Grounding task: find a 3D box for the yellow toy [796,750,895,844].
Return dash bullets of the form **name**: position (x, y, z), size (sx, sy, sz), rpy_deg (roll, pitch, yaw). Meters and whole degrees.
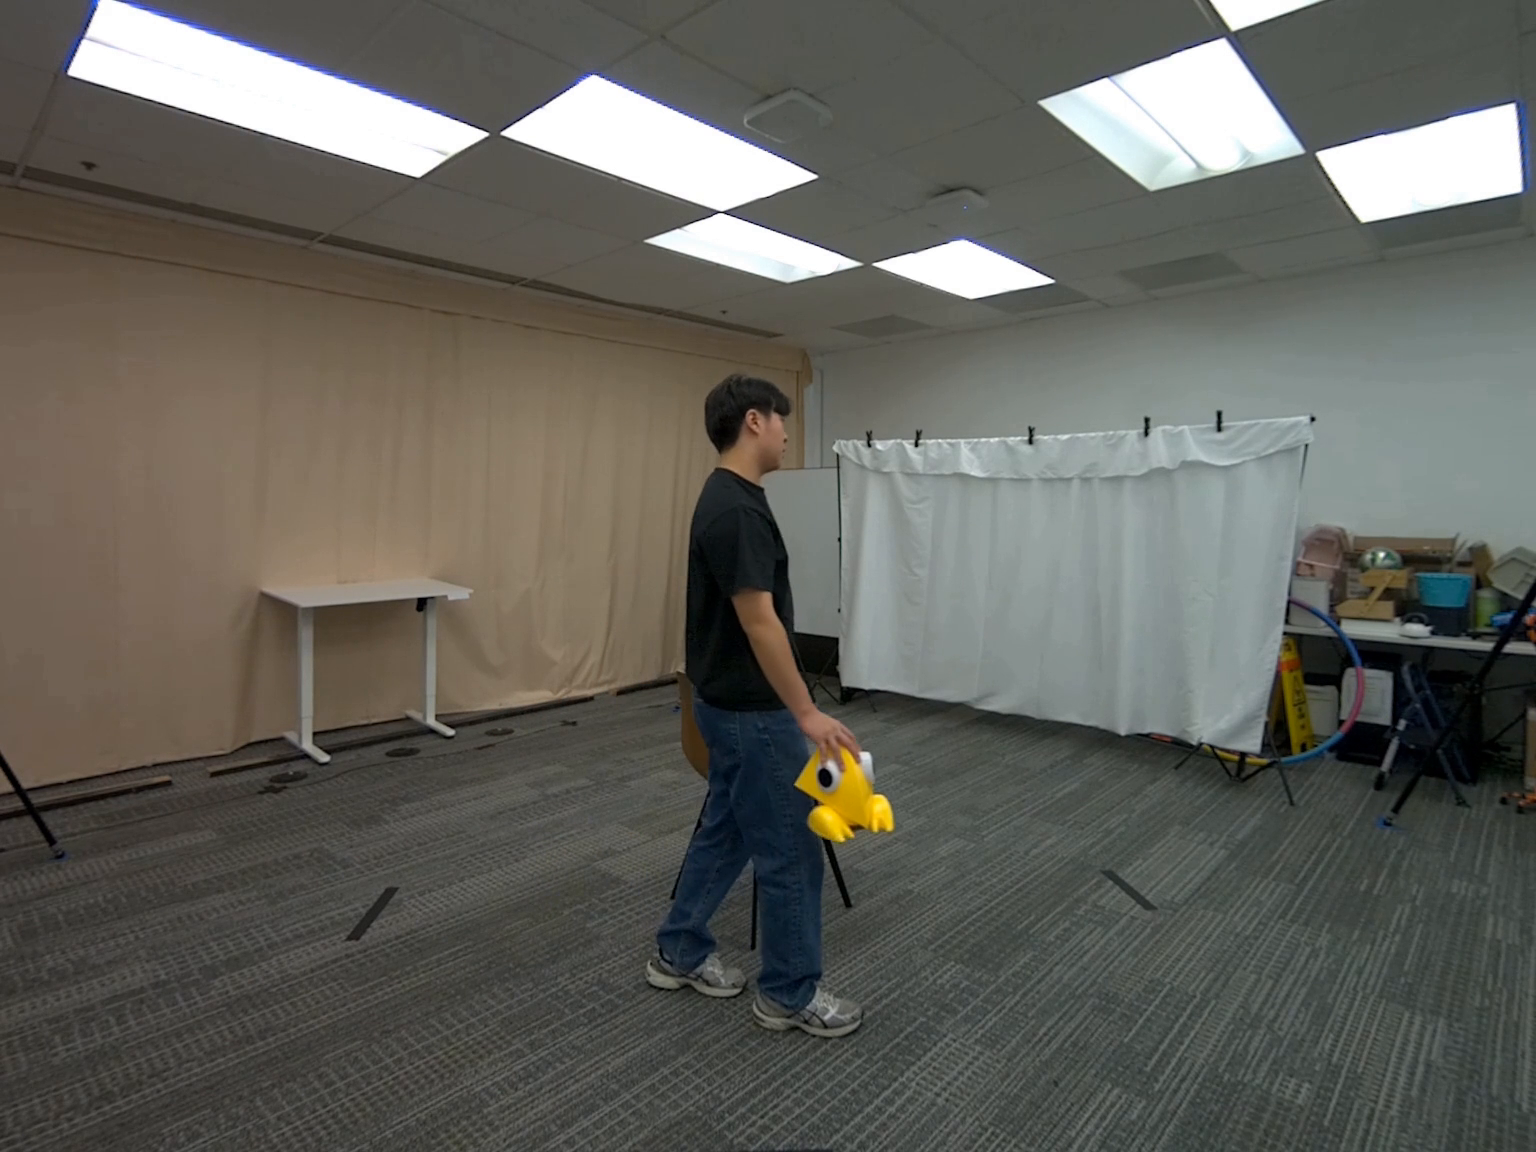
- **yellow toy**: position (0.198, 0.489, 2.054), size (0.201, 0.229, 0.198), rpy_deg (-5, 8, -20)
